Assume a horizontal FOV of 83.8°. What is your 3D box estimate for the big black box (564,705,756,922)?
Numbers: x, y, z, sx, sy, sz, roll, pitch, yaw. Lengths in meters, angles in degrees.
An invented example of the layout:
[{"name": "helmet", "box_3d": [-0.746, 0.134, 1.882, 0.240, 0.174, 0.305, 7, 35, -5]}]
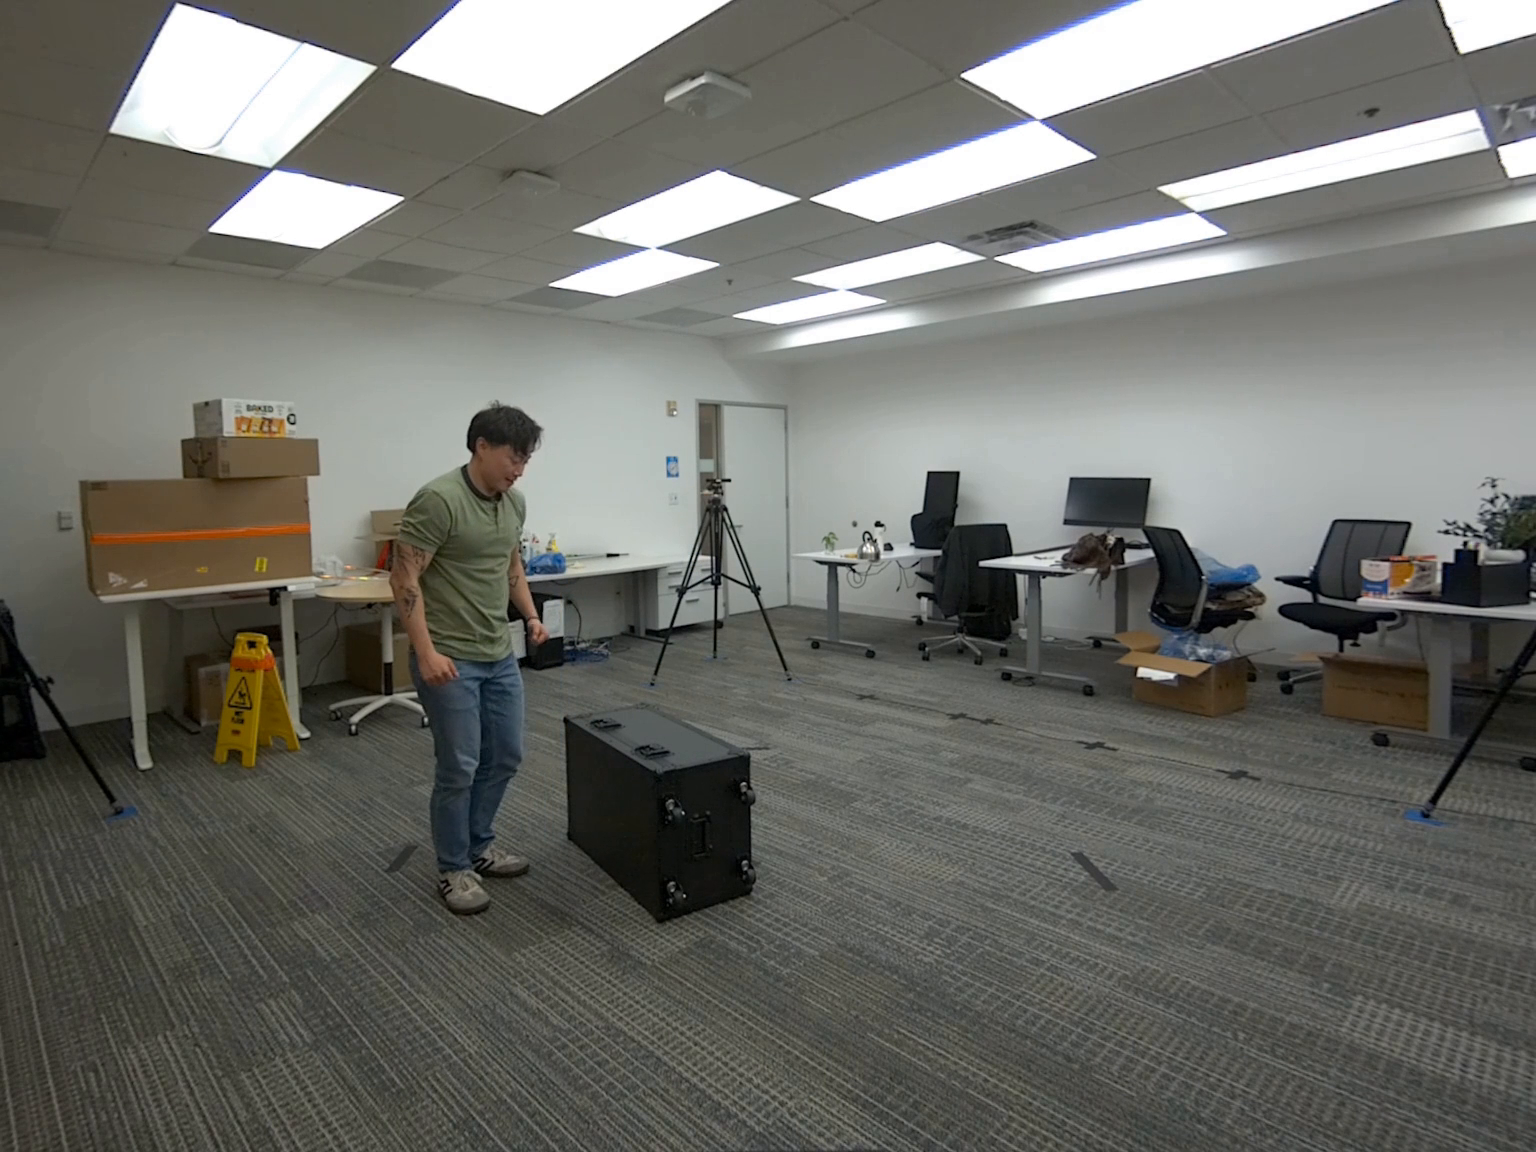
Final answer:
[{"name": "big black box", "box_3d": [-0.393, 0.811, 3.078, 0.387, 0.519, 0.887, -4, 7, -33]}]
